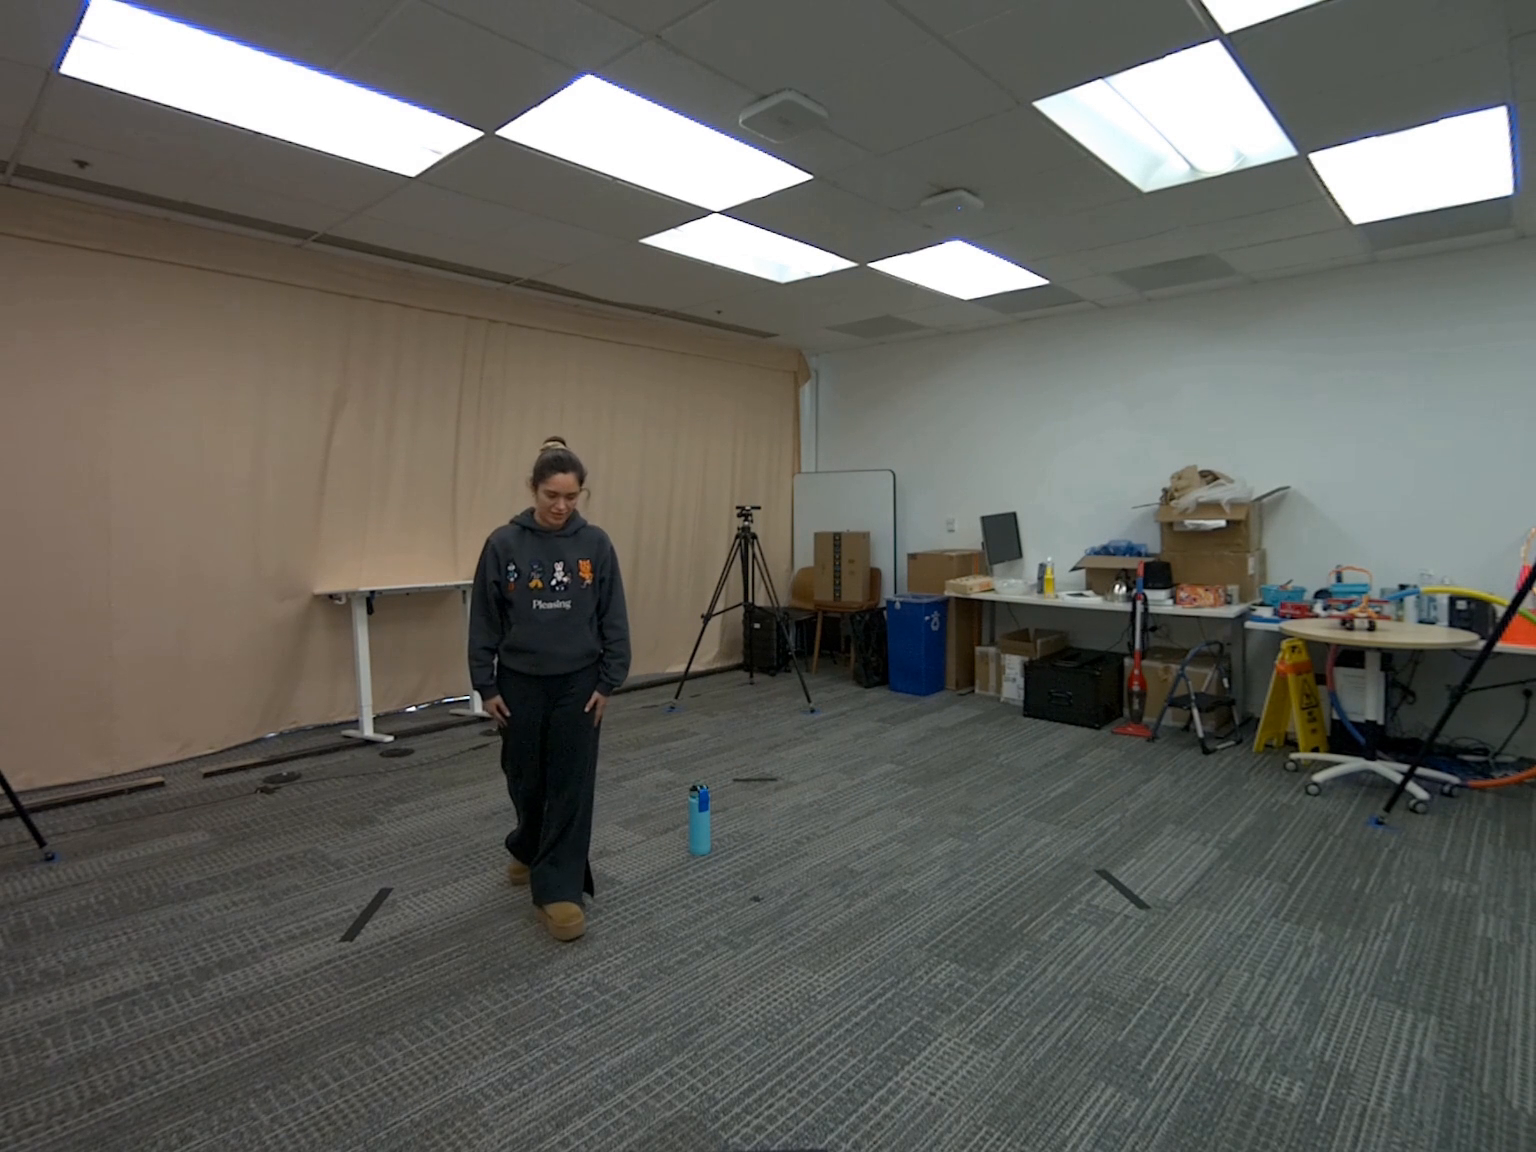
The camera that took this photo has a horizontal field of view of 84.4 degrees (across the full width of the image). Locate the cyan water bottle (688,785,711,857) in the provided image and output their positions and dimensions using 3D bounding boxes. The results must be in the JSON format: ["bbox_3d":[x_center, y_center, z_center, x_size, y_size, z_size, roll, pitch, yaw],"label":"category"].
[{"bbox_3d":[-0.255,0.969,3.391,0.092,0.283,0.093,0,4,-2],"label":"cyan water bottle"}]
